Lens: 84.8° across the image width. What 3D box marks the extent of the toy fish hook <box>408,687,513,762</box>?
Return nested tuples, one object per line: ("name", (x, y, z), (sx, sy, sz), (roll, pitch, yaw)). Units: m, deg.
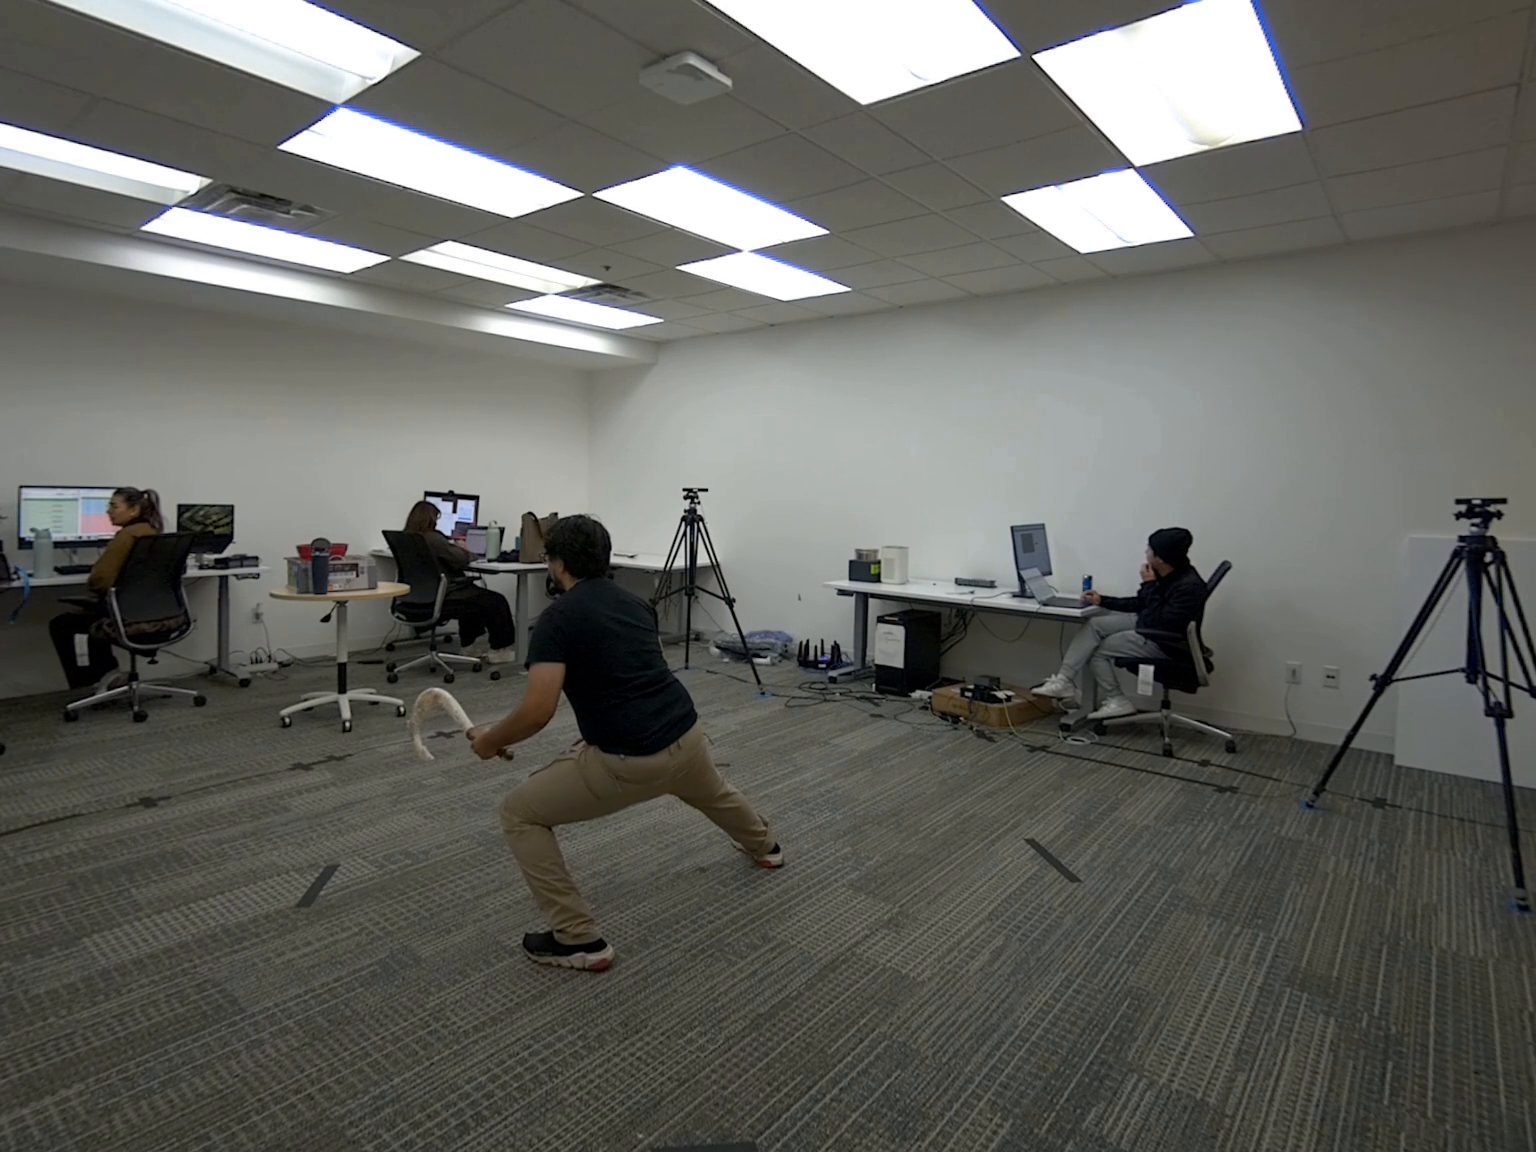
("toy fish hook", (-1.014, 0.531, 2.750), (0.526, 0.224, 0.046), (20, 0, 34))
